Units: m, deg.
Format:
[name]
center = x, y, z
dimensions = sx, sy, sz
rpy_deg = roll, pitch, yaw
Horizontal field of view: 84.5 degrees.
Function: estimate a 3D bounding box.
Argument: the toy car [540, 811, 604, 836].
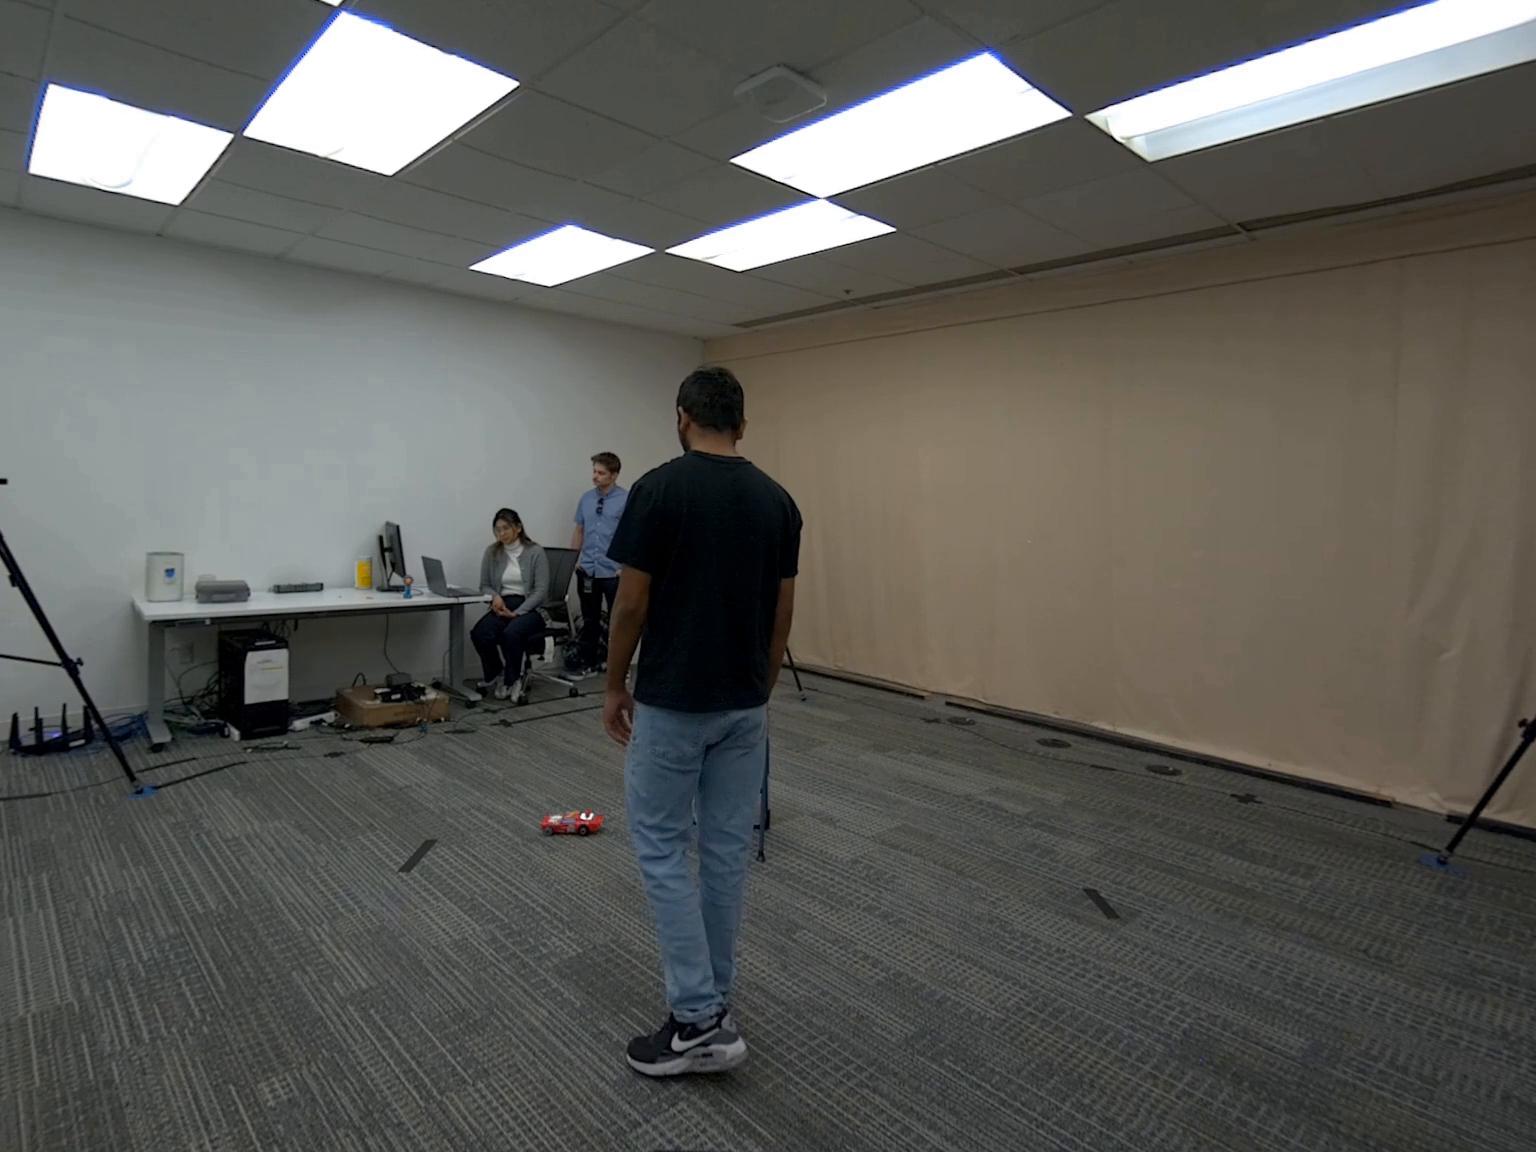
[toy car]
center = -0.810, 1.019, 3.485
dimensions = 0.254, 0.083, 0.131
rpy_deg = -10, 5, 0
